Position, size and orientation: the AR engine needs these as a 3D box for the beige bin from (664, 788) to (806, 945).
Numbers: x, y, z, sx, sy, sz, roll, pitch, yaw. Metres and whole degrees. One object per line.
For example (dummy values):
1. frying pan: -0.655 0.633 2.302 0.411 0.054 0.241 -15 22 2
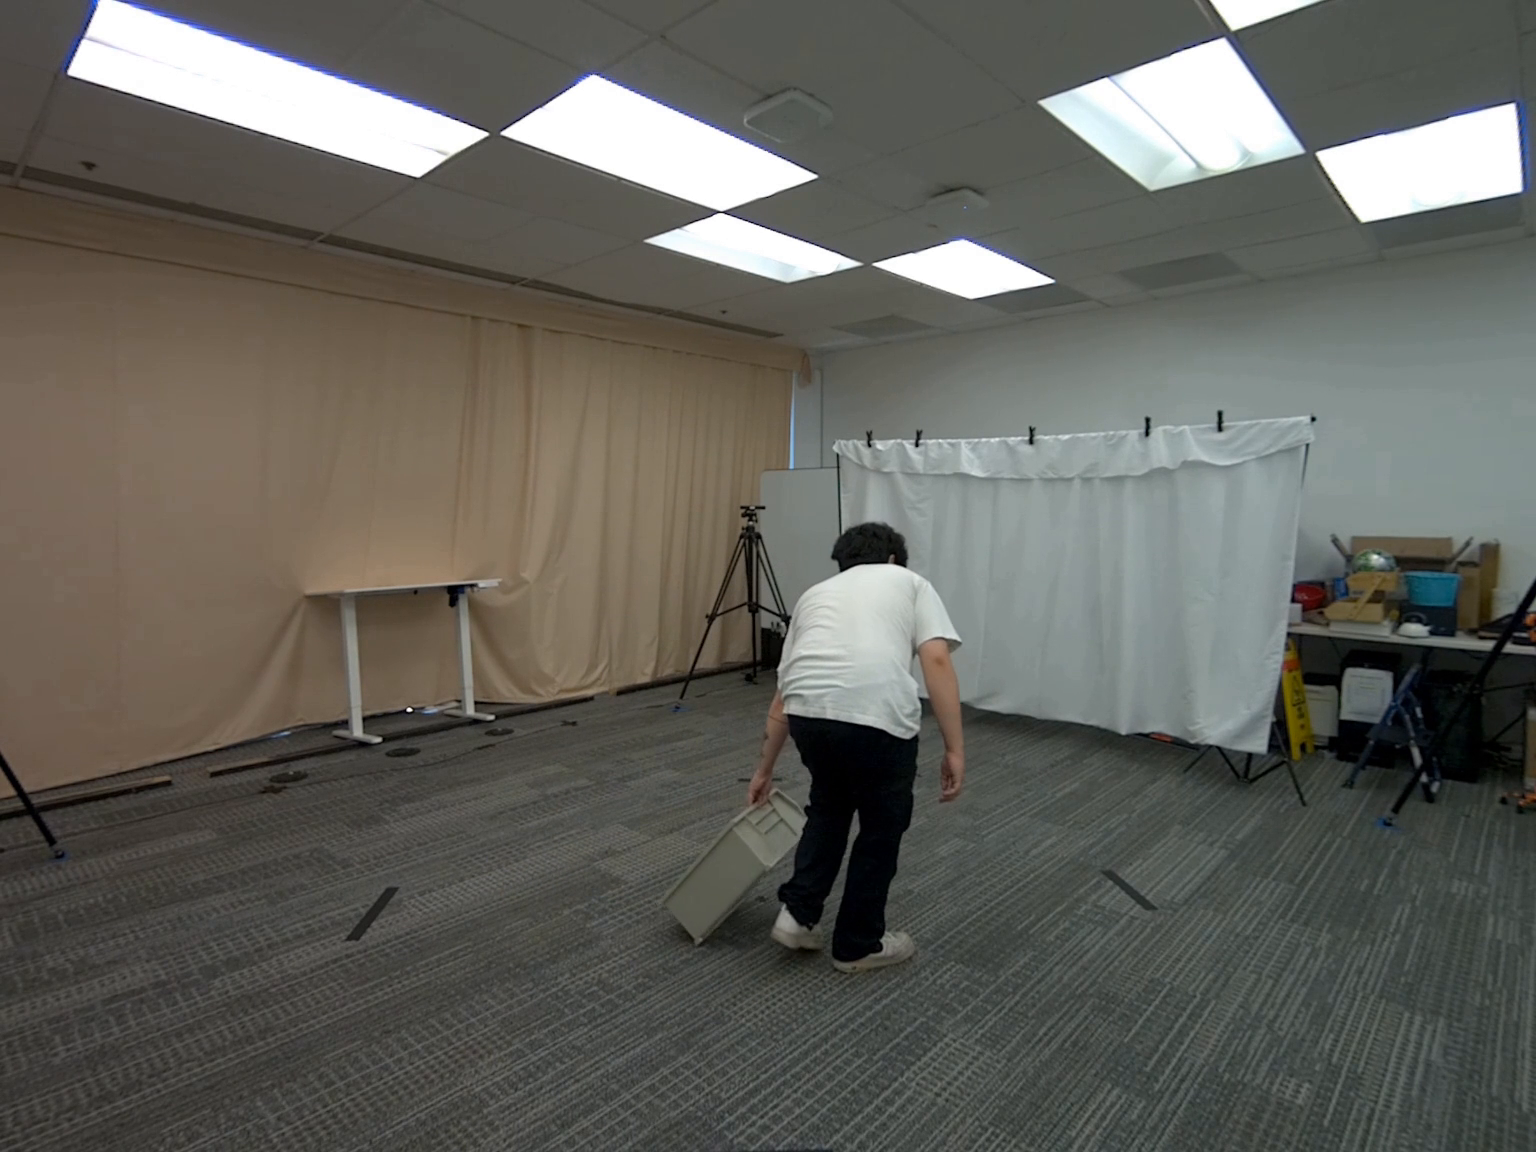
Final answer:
1. beige bin: -0.098 0.949 2.770 0.192 0.424 0.369 45 20 14
